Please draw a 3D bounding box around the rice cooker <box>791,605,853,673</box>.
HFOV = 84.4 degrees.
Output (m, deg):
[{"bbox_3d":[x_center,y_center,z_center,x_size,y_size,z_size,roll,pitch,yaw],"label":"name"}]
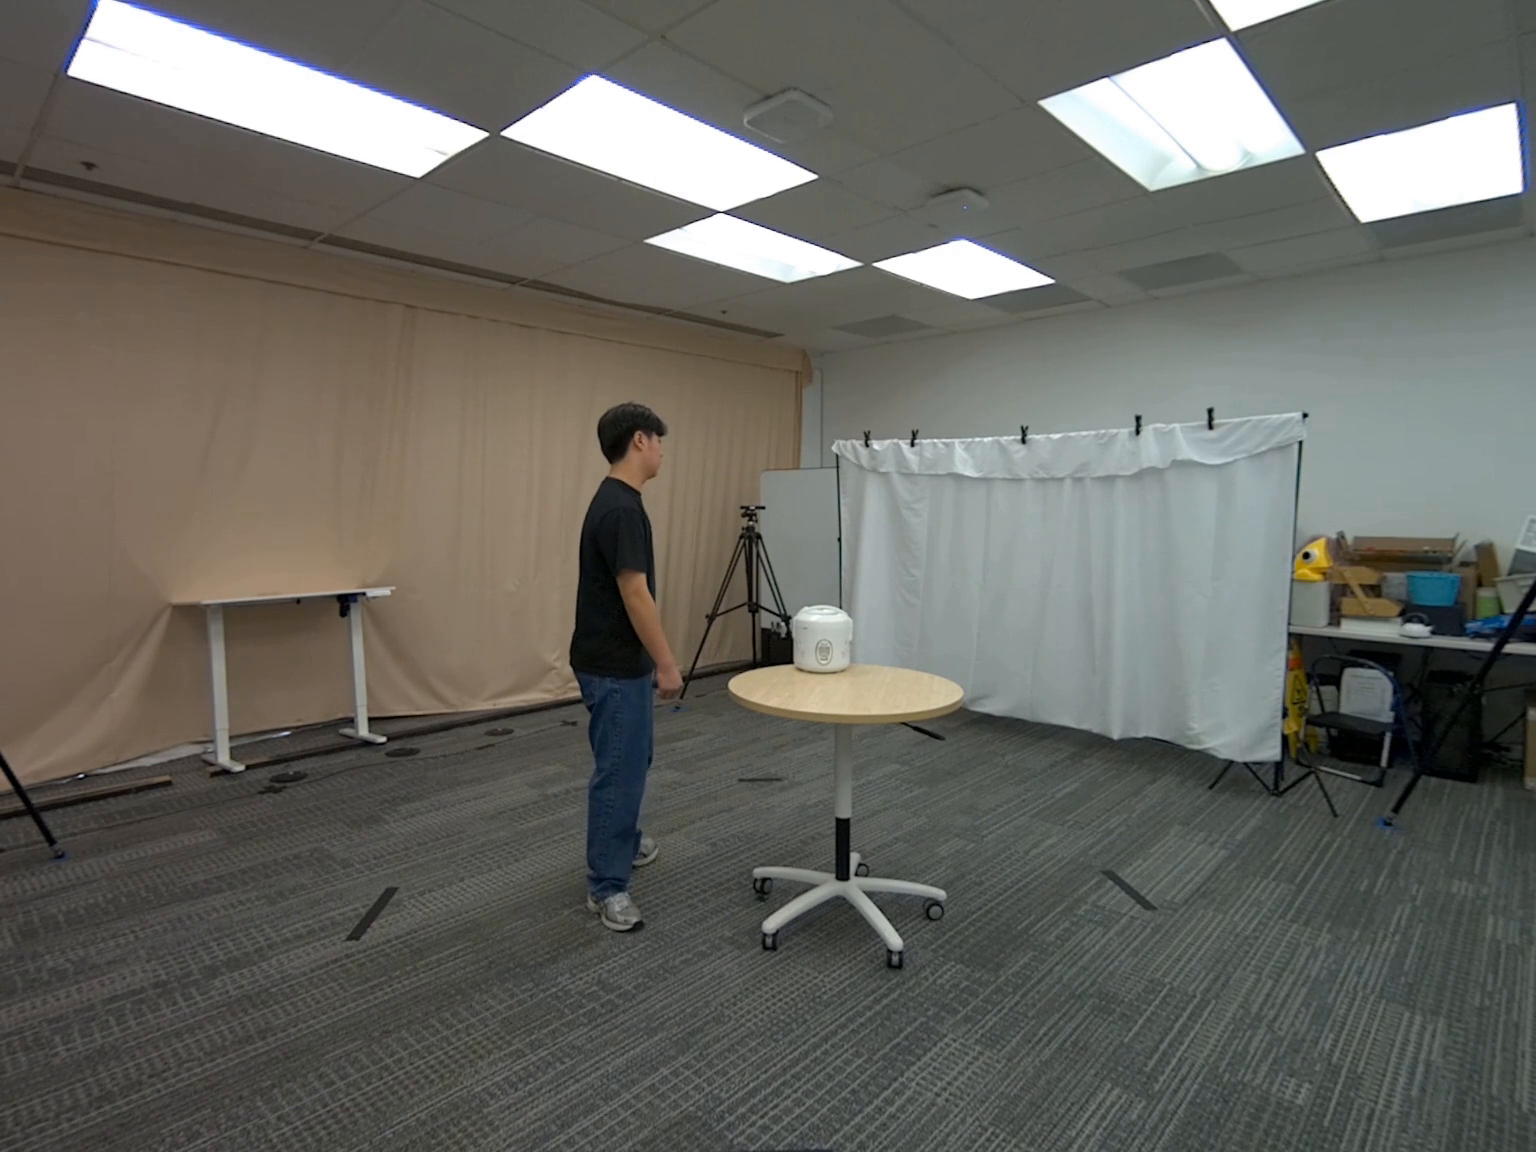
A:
[{"bbox_3d":[0.204,0.222,3.053,0.221,0.232,0.217,0,2,1],"label":"rice cooker"}]
